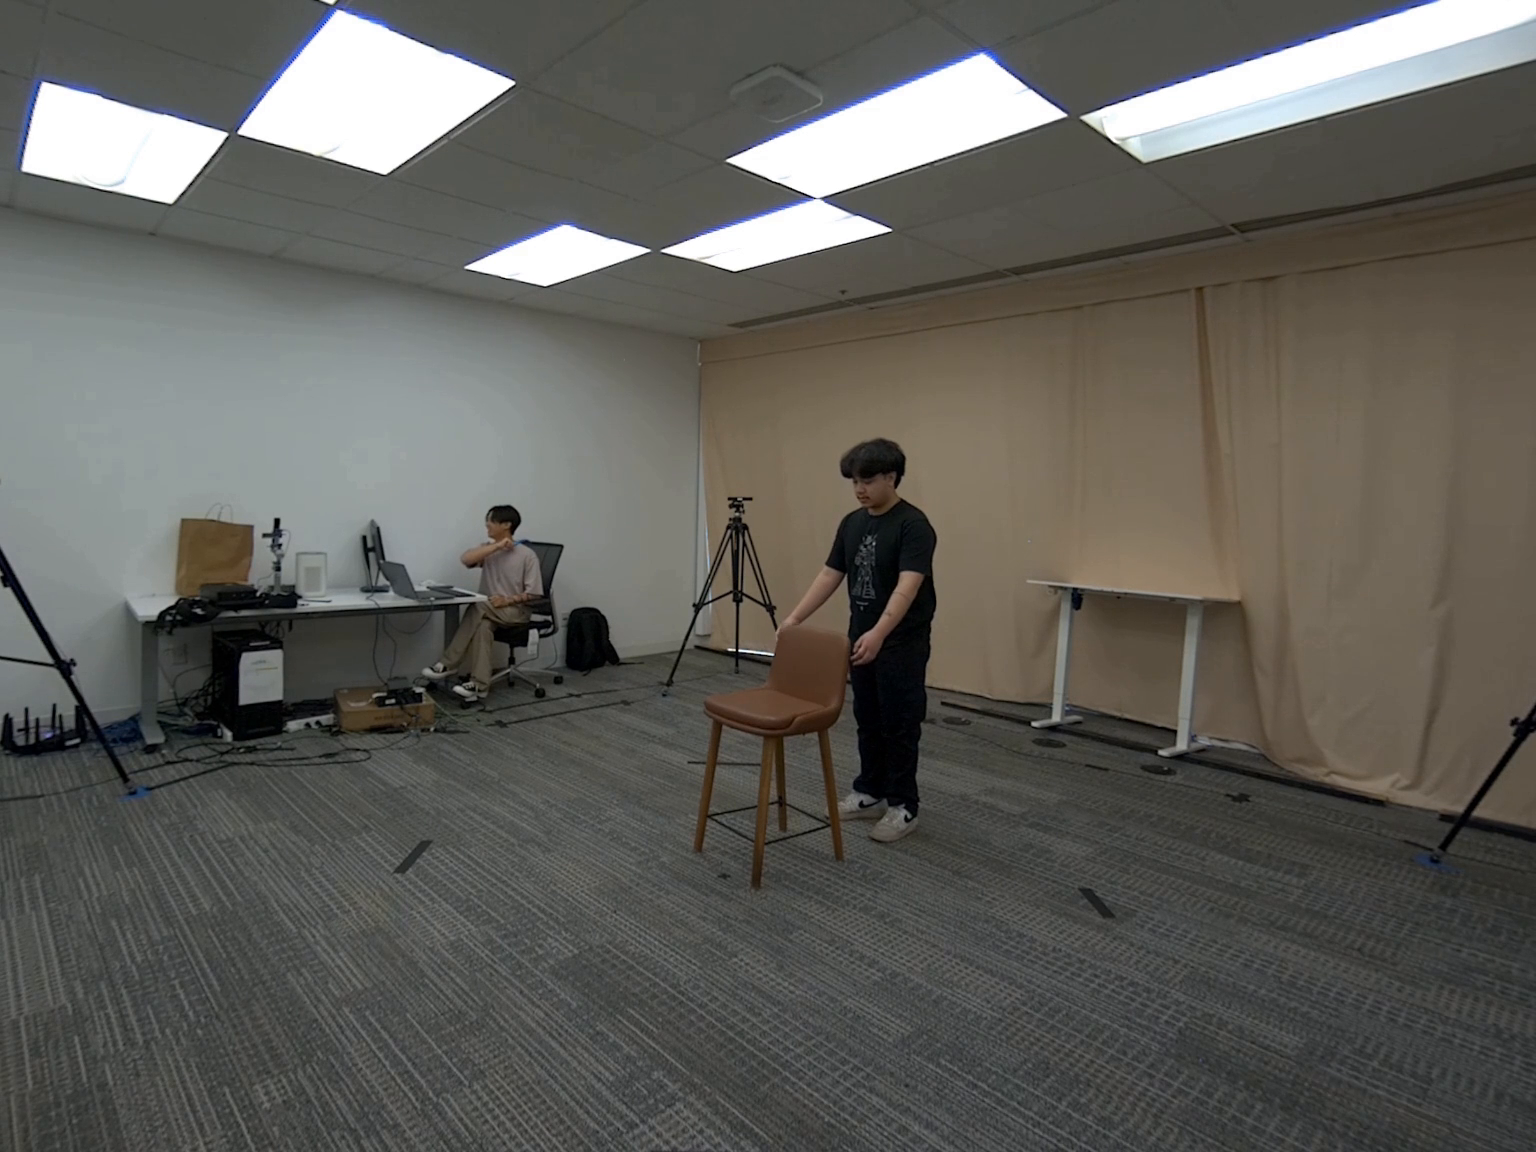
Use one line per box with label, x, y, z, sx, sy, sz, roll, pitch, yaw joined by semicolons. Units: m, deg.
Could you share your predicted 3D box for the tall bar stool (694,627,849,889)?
tall bar stool;0.019;0.659;3.272;0.457;0.889;0.468;1;2;-37
